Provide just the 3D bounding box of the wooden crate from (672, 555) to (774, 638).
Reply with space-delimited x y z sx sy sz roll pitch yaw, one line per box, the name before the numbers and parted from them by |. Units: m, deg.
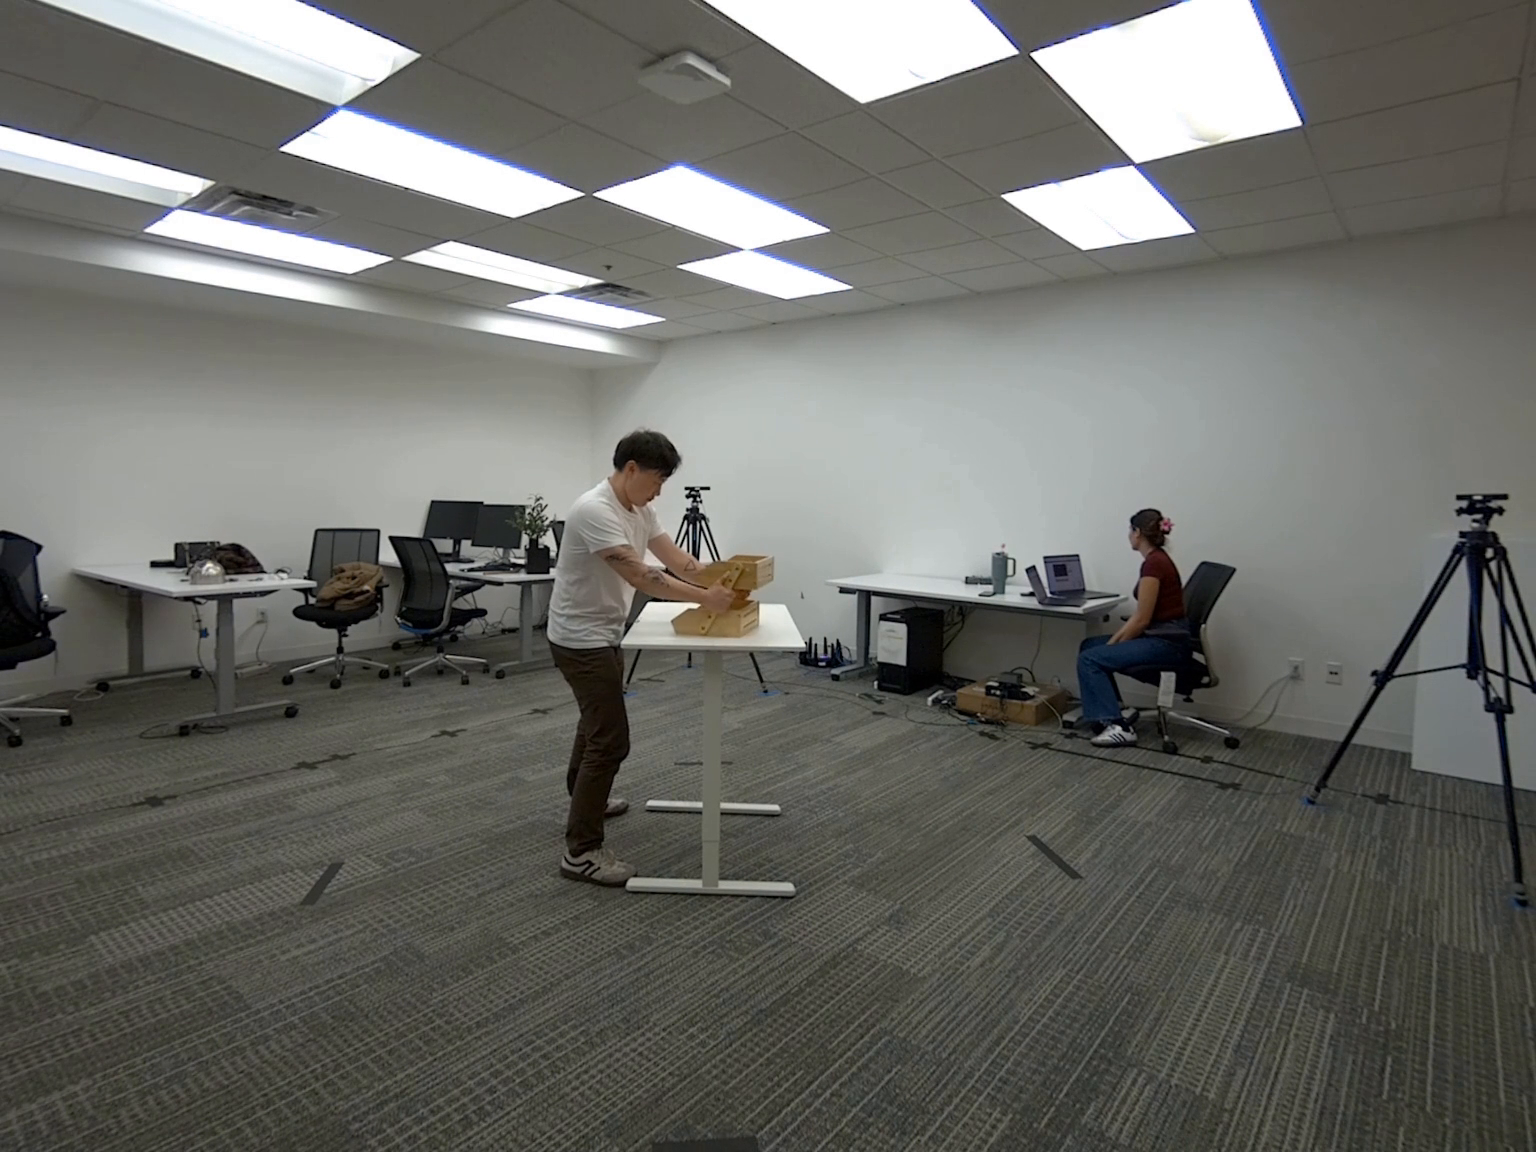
wooden crate | -0.168 0.059 3.066 0.307 0.272 0.320 3 4 13
